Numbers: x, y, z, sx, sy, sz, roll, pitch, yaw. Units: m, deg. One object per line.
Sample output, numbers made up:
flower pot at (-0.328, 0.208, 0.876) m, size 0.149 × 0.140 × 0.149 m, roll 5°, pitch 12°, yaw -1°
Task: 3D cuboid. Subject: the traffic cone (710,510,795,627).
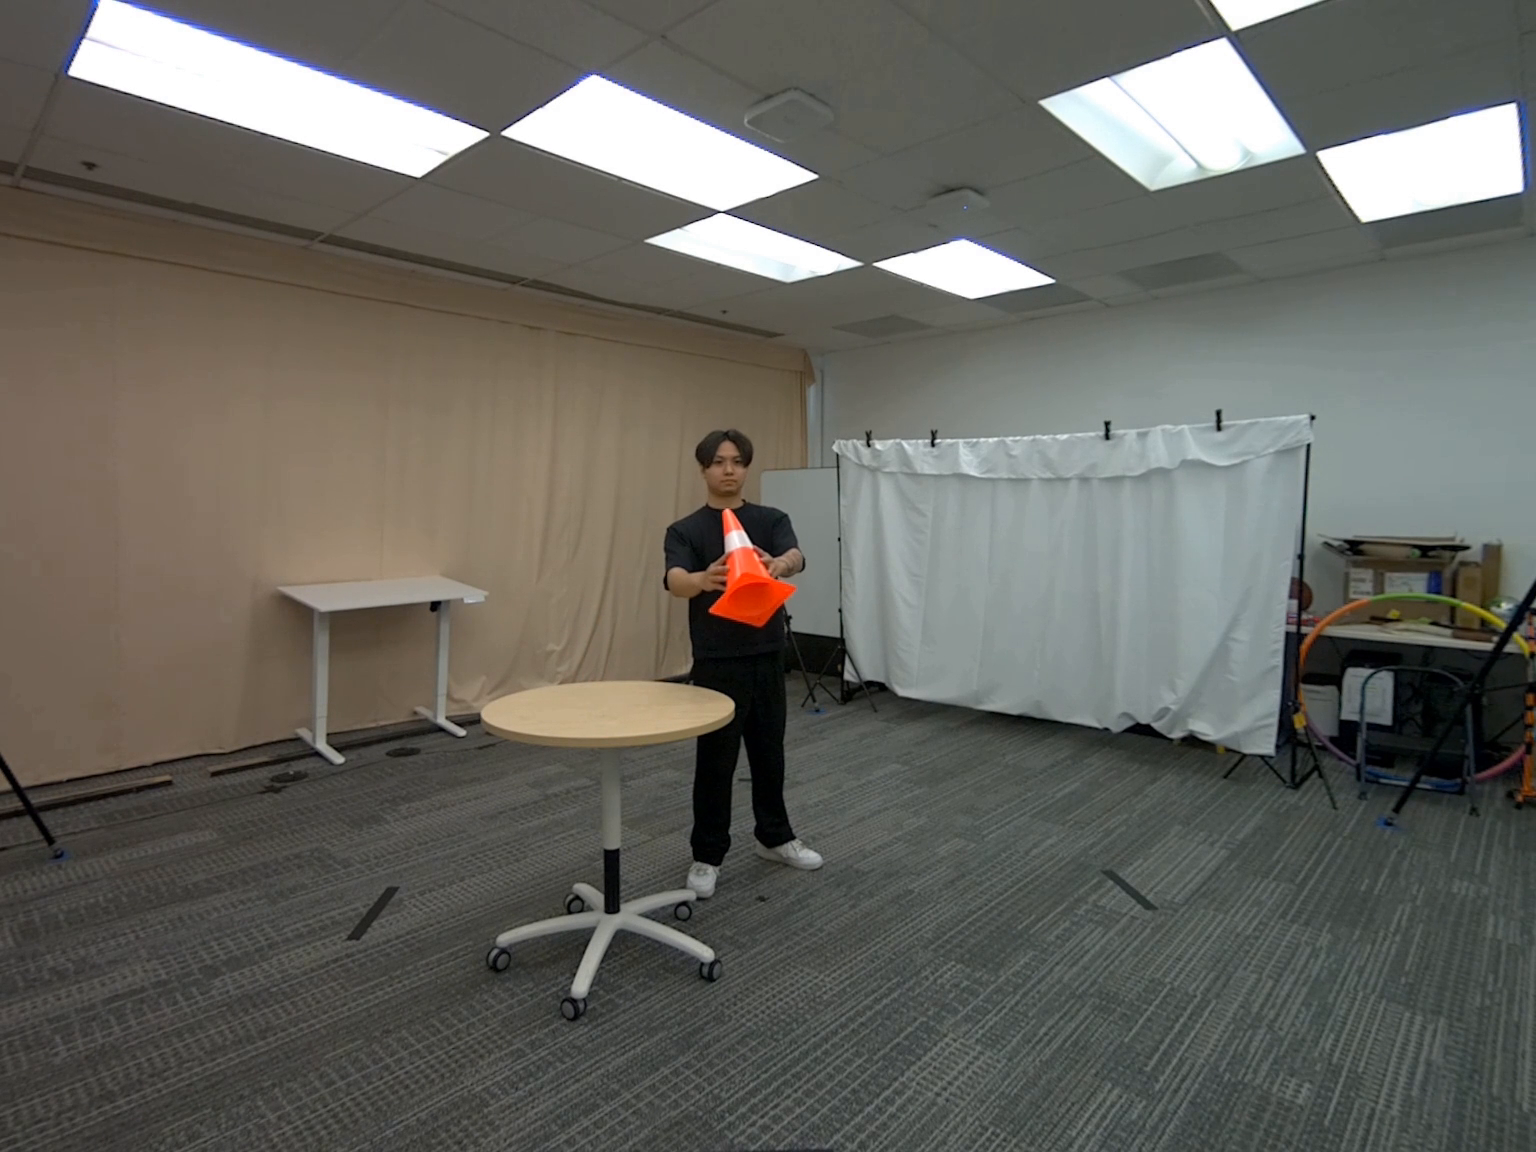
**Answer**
traffic cone at (-0.086, -0.067, 2.633) m, size 0.197 × 0.206 × 0.393 m, roll 16°, pitch 40°, yaw -28°
